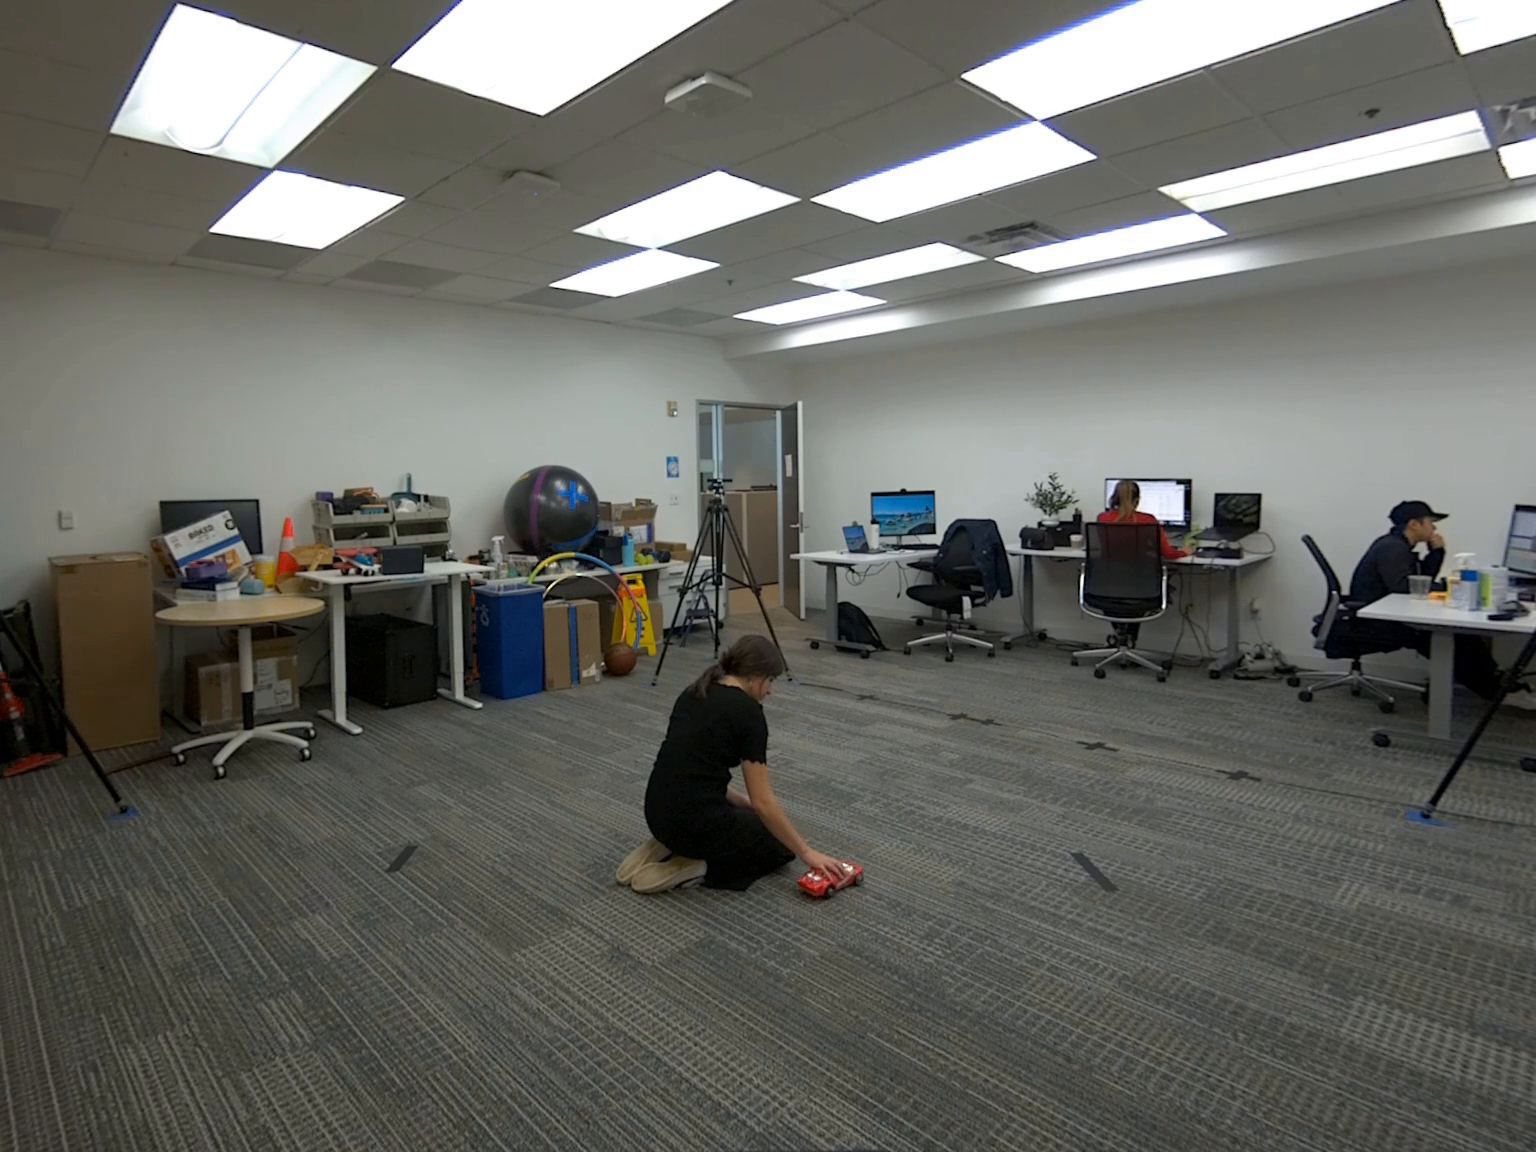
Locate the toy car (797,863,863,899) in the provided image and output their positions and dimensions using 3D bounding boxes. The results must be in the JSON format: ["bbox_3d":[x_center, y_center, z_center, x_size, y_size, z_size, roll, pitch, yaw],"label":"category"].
[{"bbox_3d":[0.204,1.027,2.902,0.246,0.083,0.134,8,0,-40],"label":"toy car"}]
